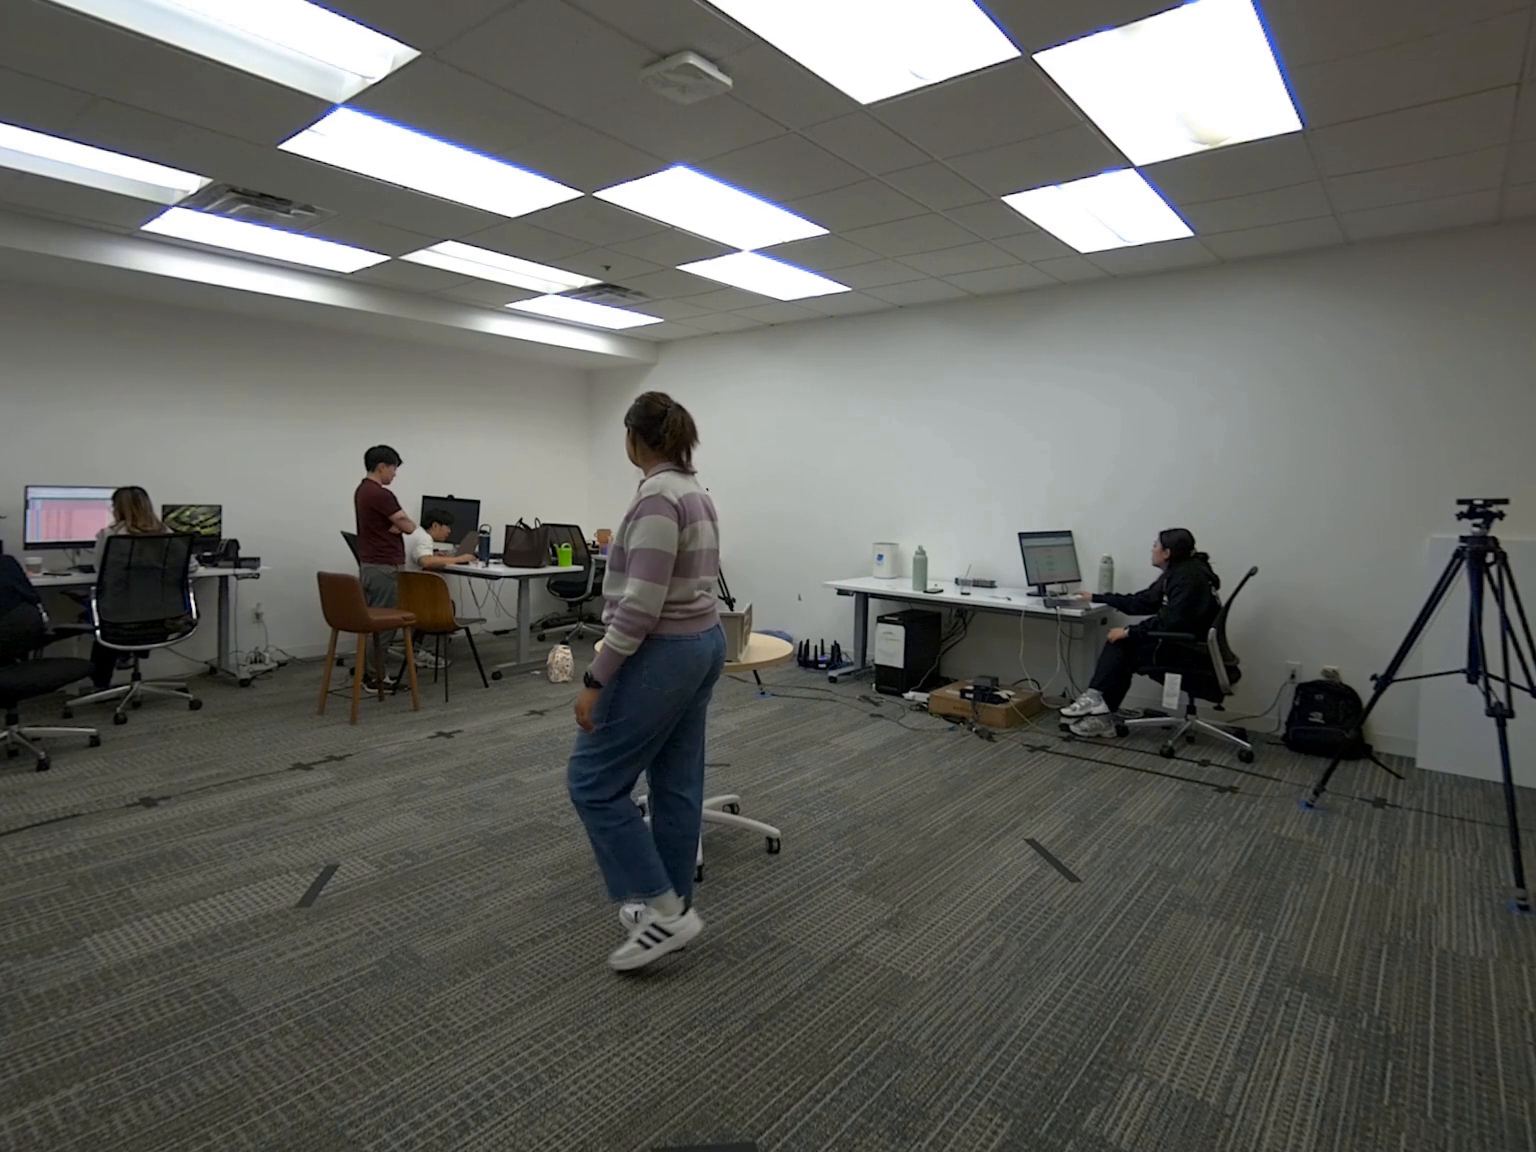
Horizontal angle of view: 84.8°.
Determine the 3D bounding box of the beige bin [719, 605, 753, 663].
[{"bbox_3d":[-0.291,0.188,3.169,0.426,0.188,0.376,1,7,6],"label":"beige bin"}]
